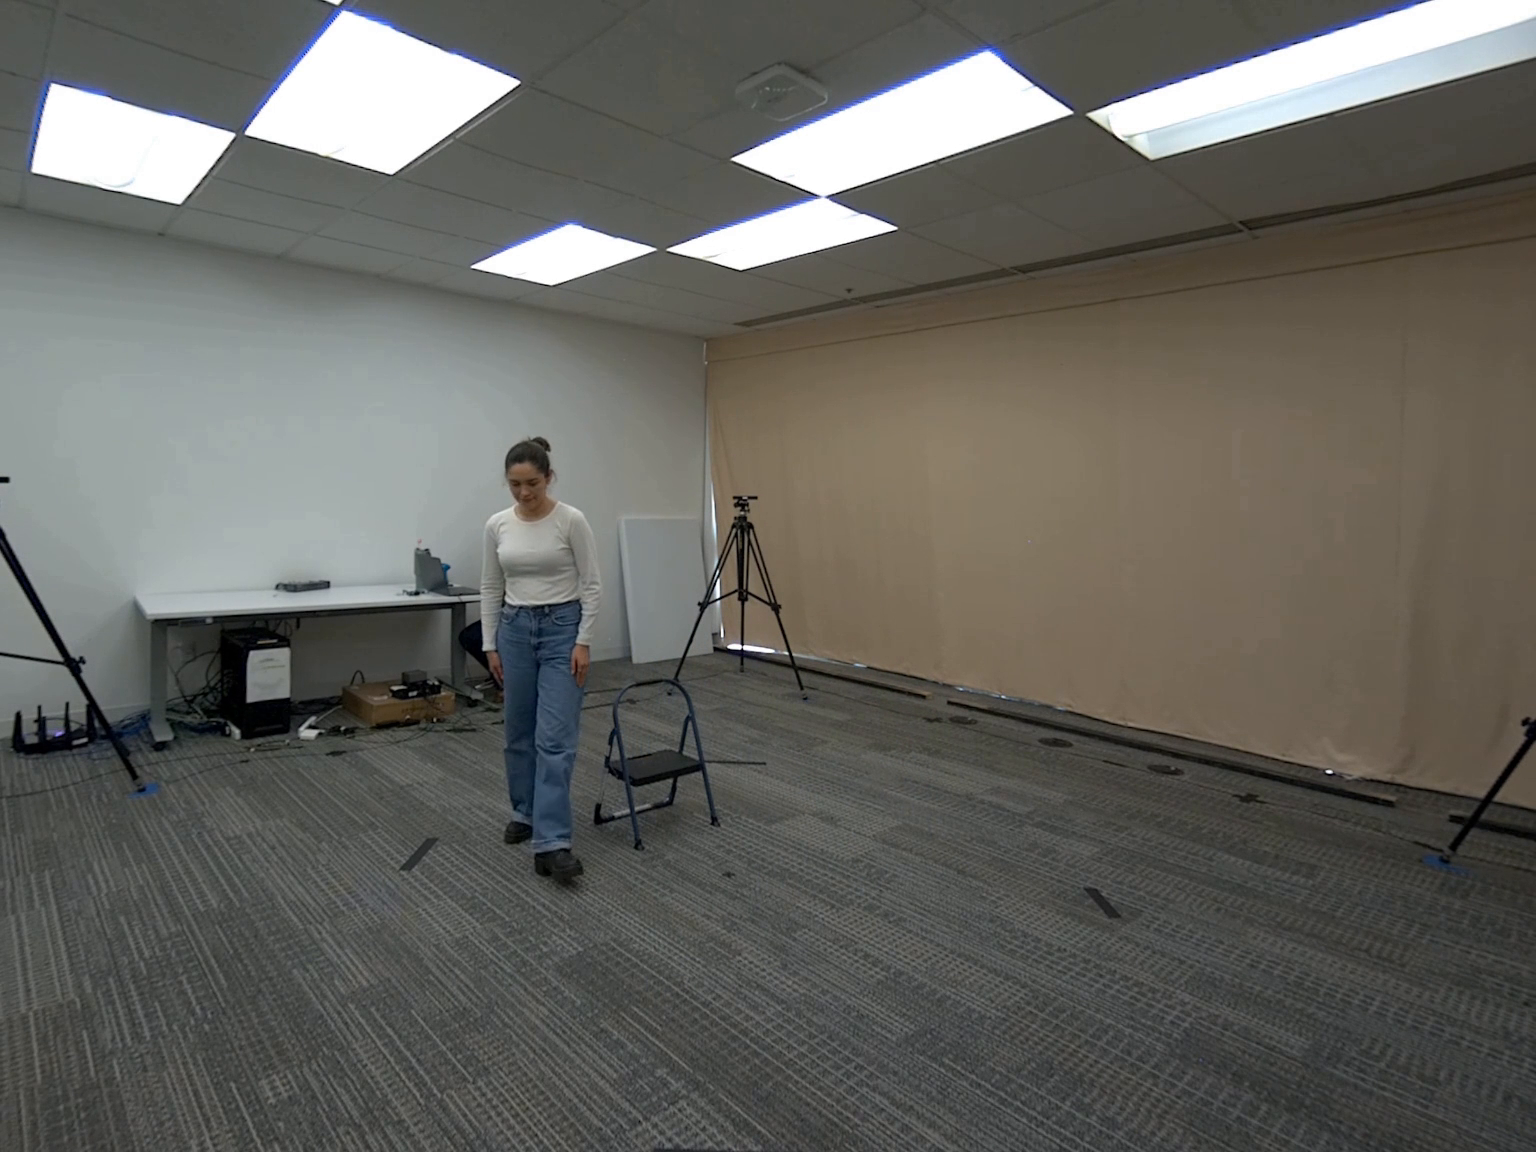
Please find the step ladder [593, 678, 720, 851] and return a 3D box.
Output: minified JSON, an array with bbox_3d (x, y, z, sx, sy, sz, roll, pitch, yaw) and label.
[{"bbox_3d":[-0.472,0.753,3.552,0.421,0.605,0.358,-2,4,-44],"label":"step ladder"}]
